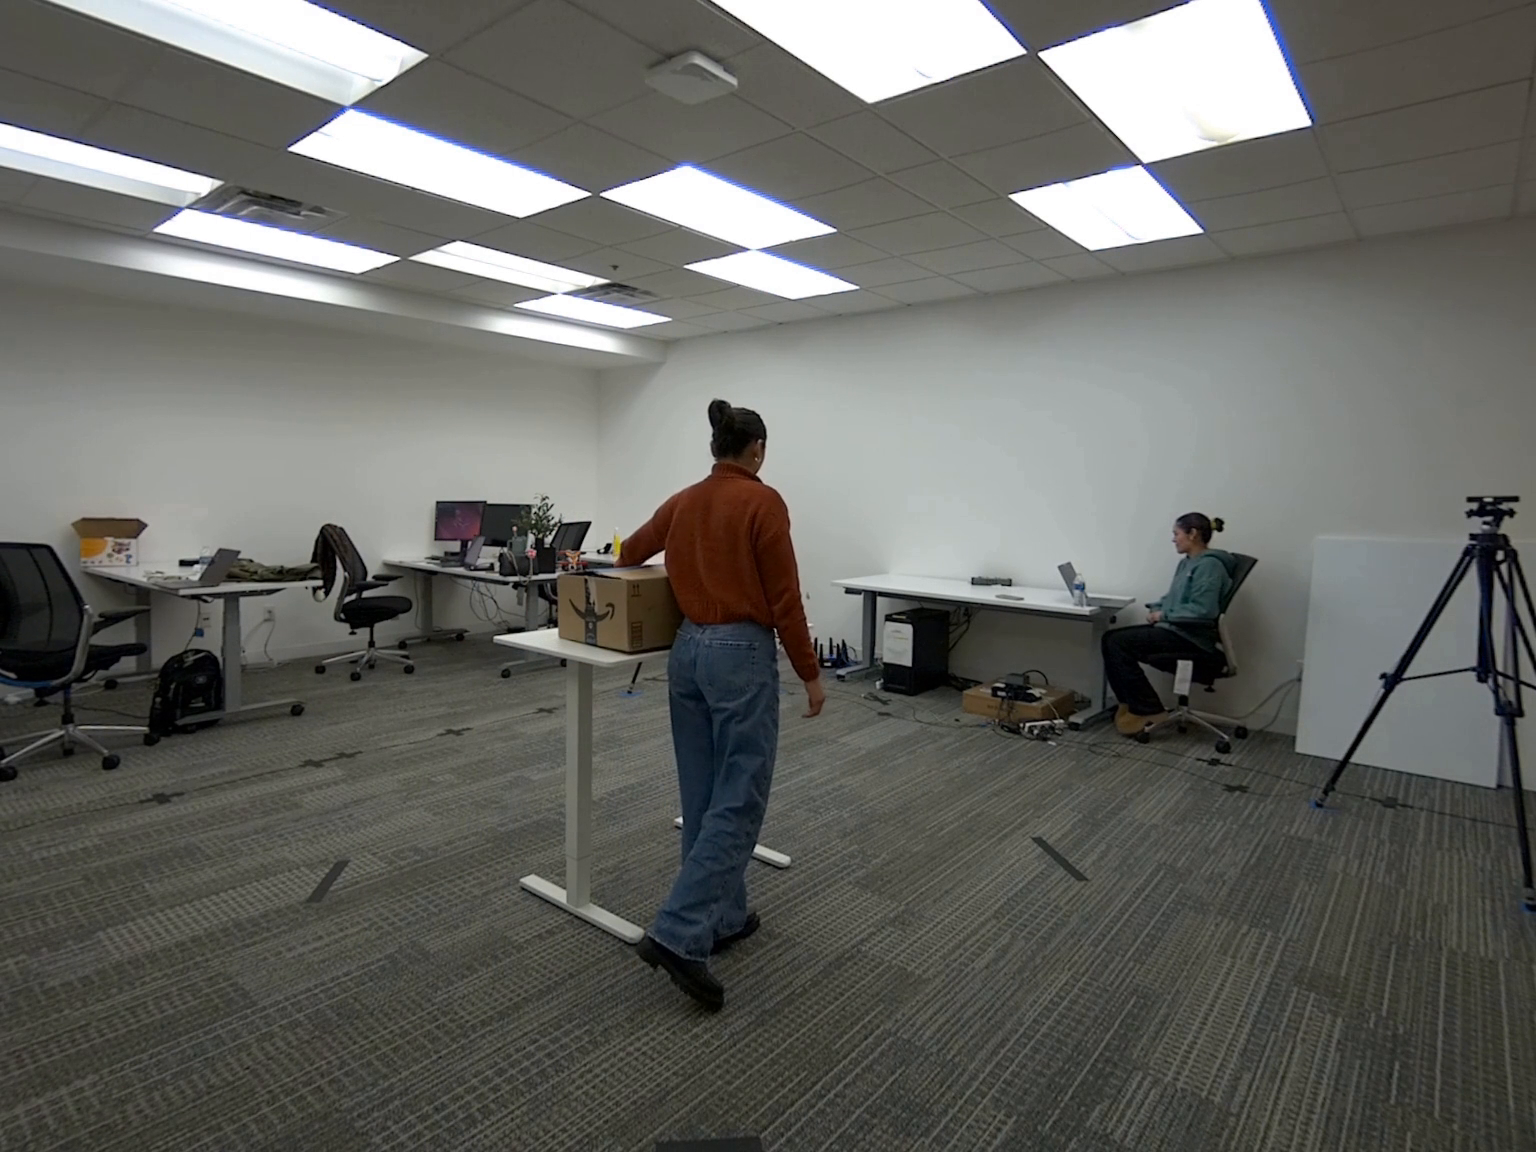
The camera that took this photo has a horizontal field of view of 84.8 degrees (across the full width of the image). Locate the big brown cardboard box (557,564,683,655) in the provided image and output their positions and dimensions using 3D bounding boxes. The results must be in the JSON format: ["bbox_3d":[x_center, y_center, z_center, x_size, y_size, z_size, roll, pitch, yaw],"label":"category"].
[{"bbox_3d":[-0.366,0.083,2.862,0.572,0.232,0.431,-7,7,-43],"label":"big brown cardboard box"}]
